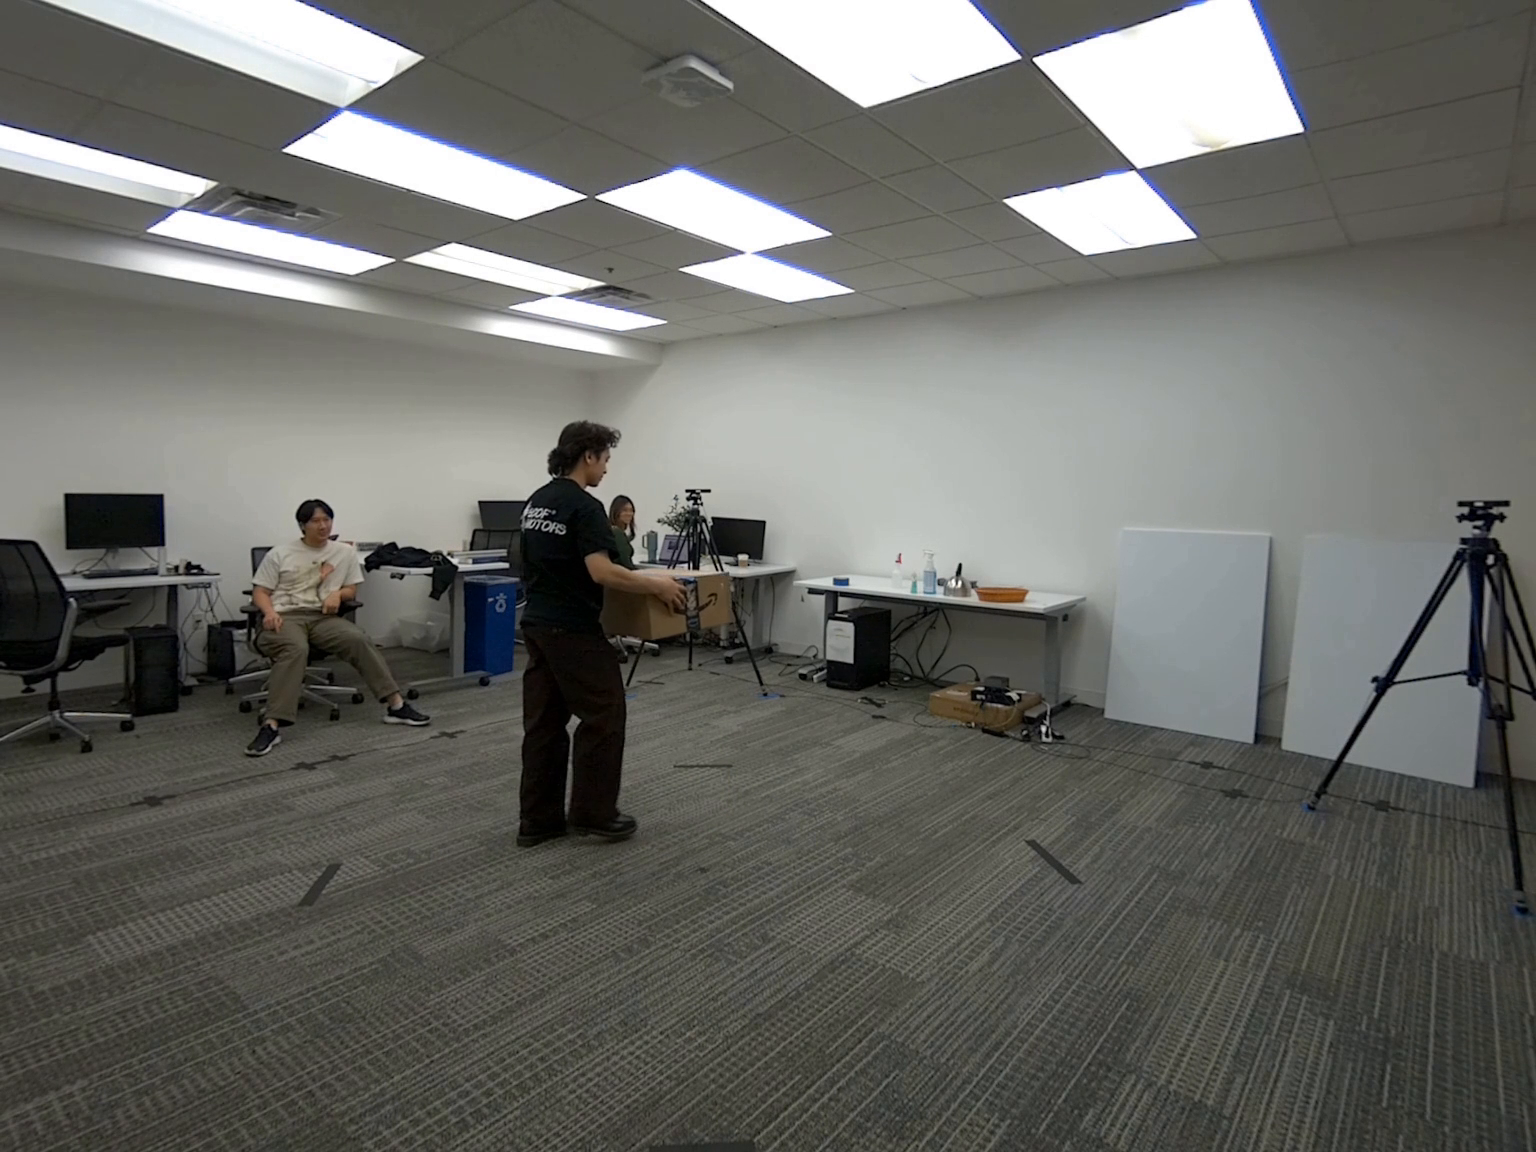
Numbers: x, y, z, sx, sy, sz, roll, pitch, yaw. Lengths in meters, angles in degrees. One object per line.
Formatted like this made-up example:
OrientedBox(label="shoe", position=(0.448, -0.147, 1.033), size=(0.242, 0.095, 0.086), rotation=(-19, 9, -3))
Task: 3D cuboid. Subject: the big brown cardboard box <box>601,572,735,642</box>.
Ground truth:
OrientedBox(label="big brown cardboard box", position=(-0.495, 0.103, 3.618), size=(0.407, 0.232, 0.607), rotation=(-10, 8, -40))
